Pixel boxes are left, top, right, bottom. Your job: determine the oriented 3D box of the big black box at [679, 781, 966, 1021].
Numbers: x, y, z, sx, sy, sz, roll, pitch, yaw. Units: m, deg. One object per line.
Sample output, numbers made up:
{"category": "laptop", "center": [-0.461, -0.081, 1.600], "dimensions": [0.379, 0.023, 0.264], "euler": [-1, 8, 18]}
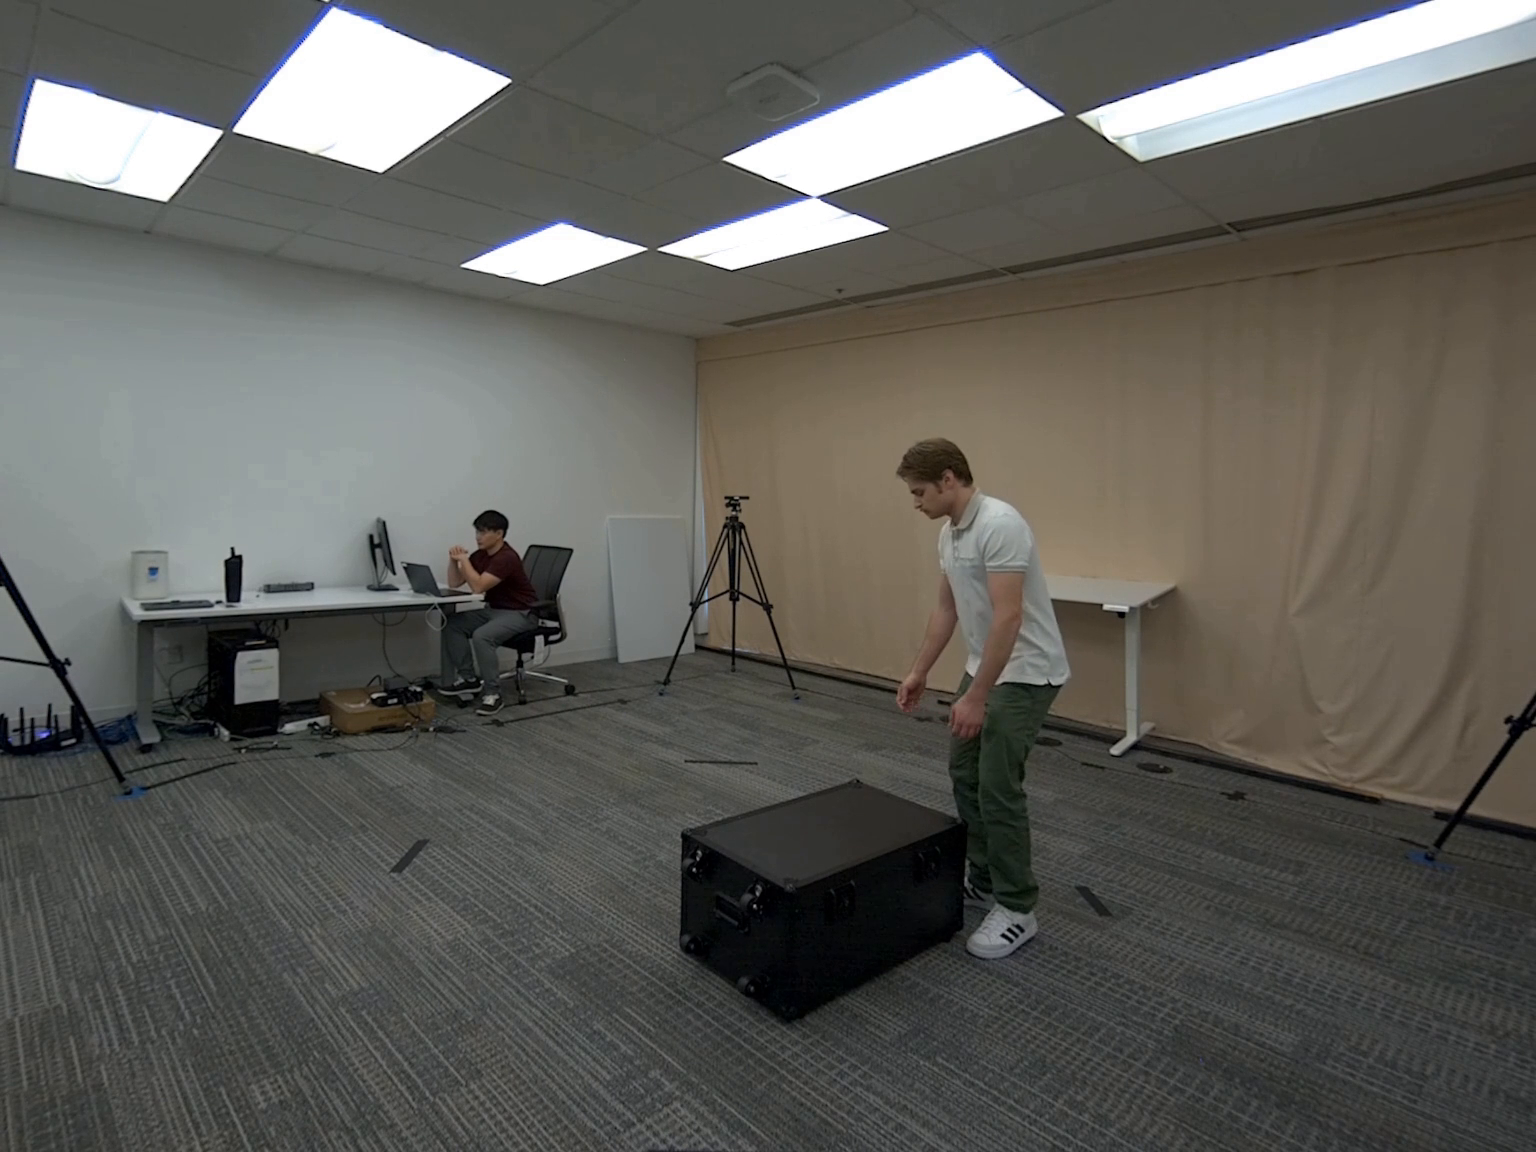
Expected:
{"category": "big black box", "center": [0.149, 0.968, 2.608], "dimensions": [0.841, 0.395, 0.535], "euler": [-2, 6, -42]}
